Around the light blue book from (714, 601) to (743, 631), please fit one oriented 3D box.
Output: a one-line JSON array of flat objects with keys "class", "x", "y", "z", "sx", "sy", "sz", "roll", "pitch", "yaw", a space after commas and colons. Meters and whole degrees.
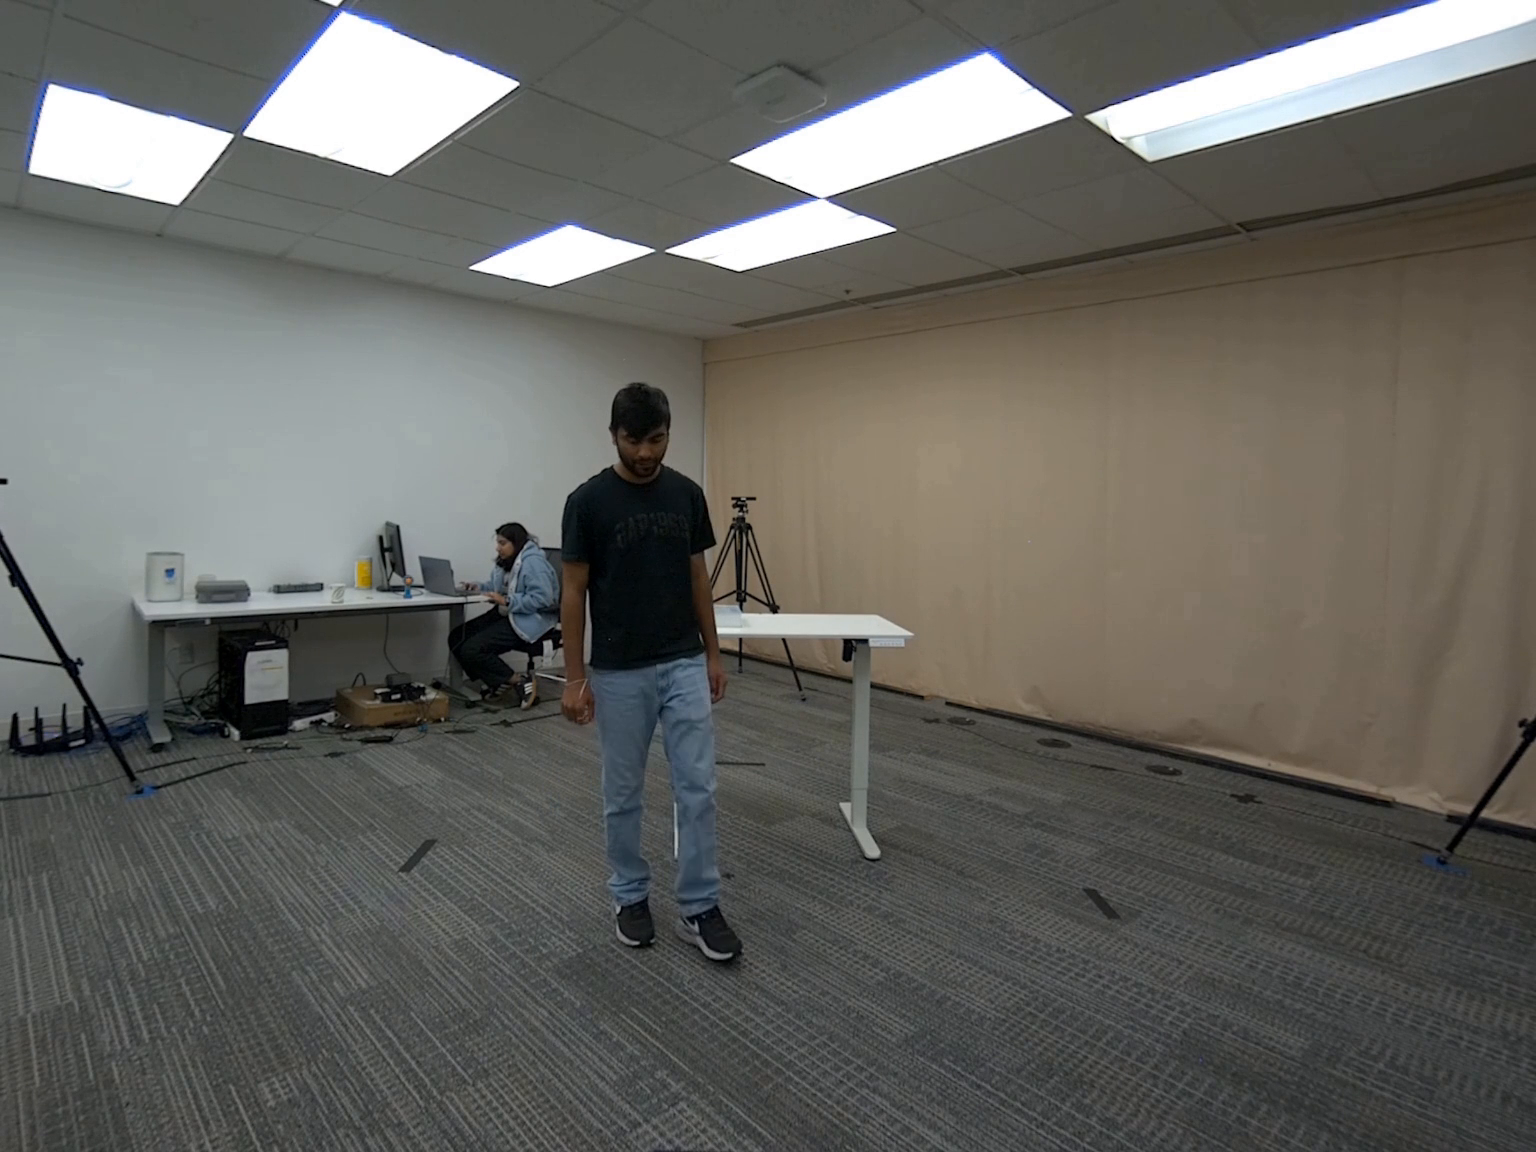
[{"class": "light blue book", "x": -0.215, "y": 0.169, "z": 3.474, "sx": 0.191, "sy": 0.059, "sz": 0.262, "roll": 2, "pitch": 5, "yaw": -4}]
